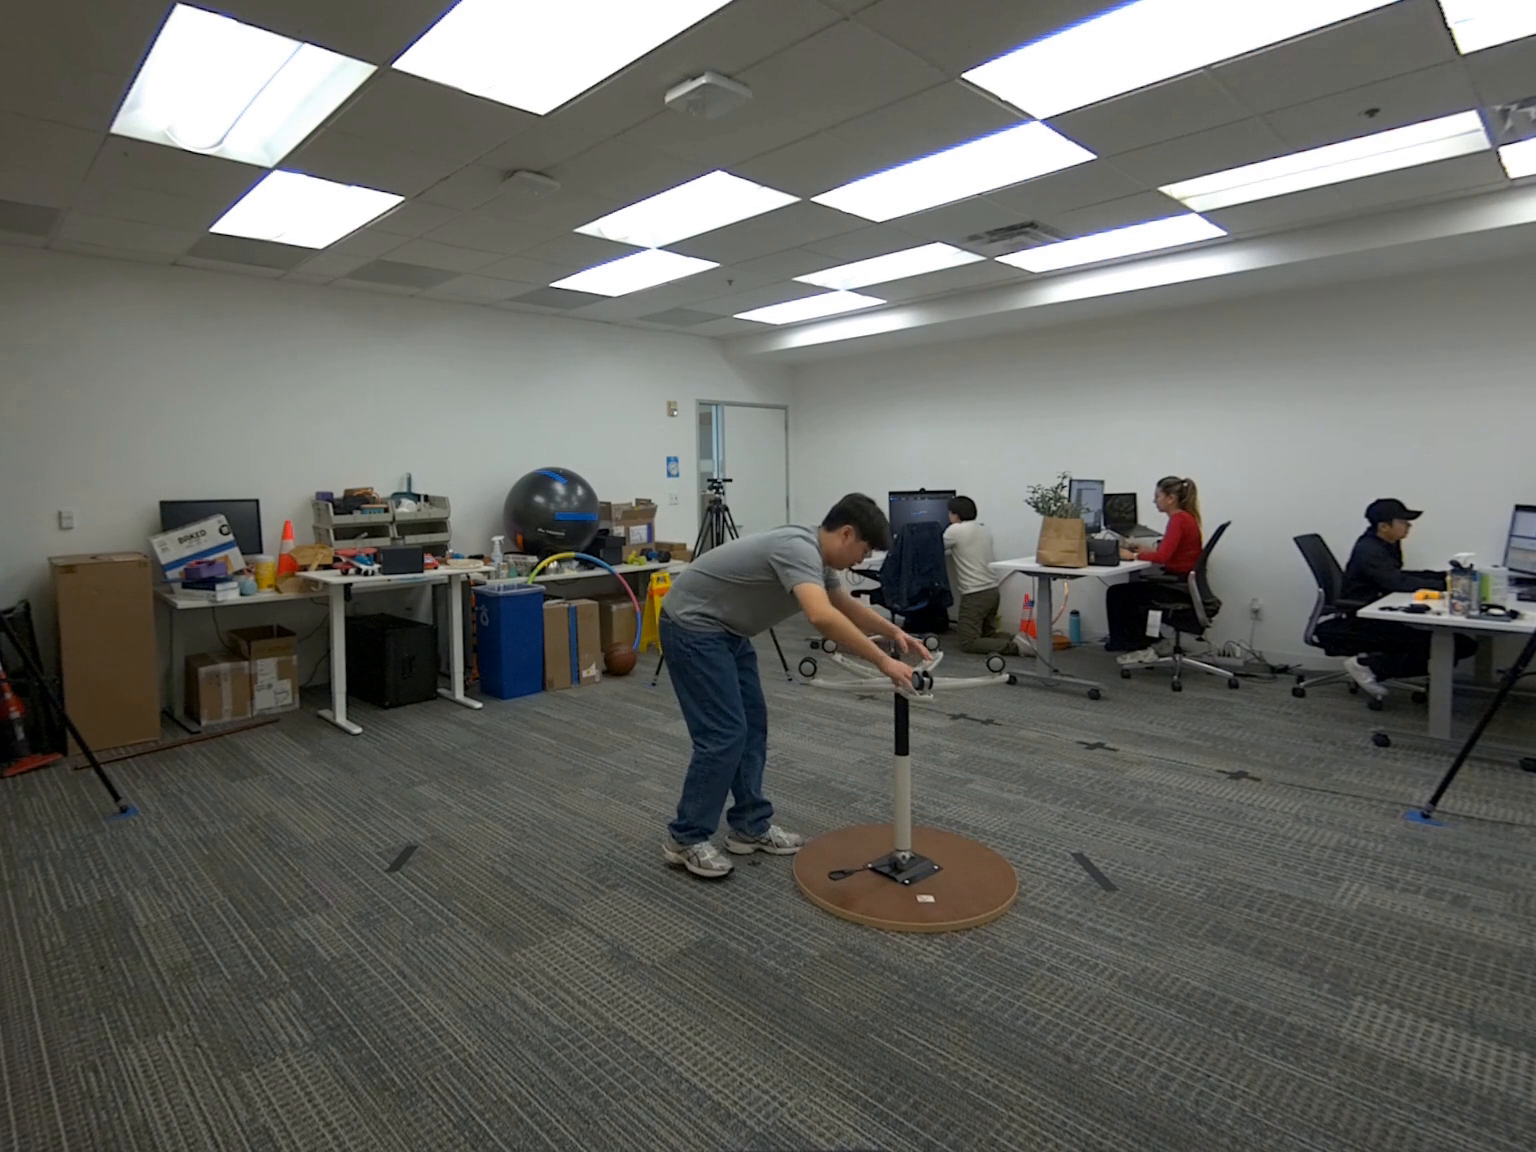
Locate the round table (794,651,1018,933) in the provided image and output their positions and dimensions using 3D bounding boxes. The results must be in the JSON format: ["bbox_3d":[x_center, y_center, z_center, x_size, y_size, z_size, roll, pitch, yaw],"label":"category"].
[{"bbox_3d":[0.465,0.658,2.956,0.763,0.791,0.768,-1,5,-2],"label":"round table"}]
